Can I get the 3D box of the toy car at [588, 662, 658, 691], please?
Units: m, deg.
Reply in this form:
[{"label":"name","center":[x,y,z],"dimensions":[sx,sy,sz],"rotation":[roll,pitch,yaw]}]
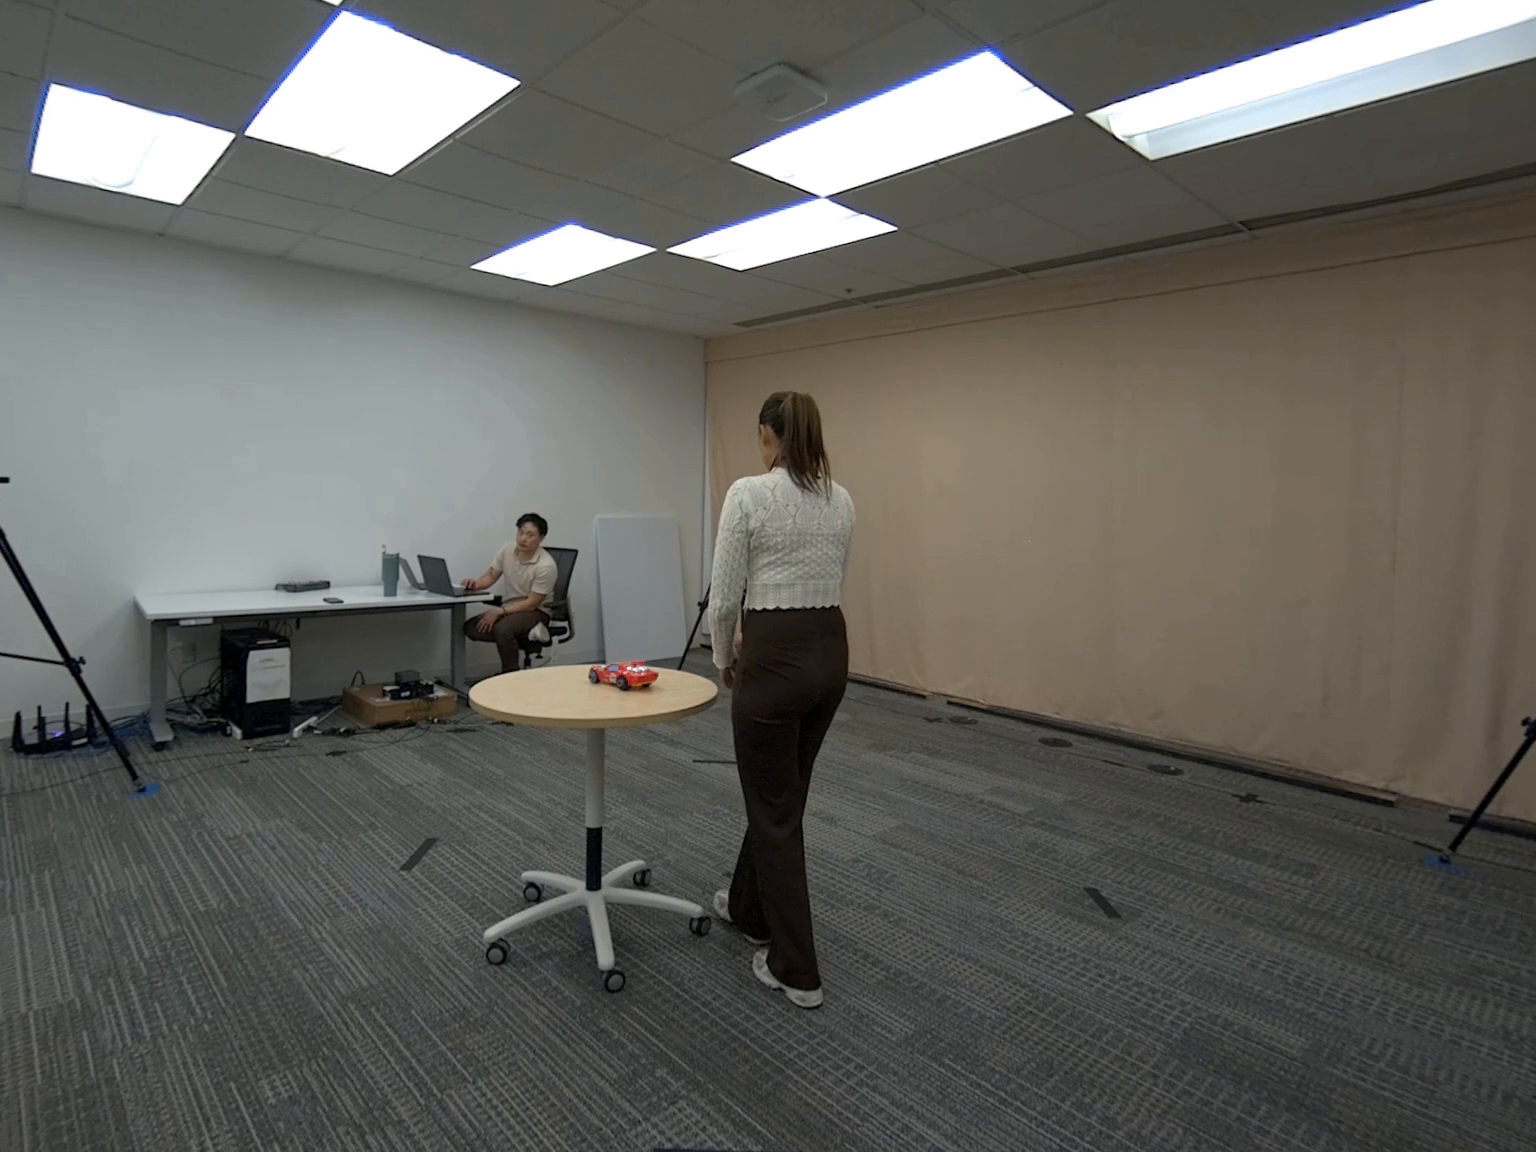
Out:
[{"label":"toy car","center":[-0.463,0.322,2.676],"dimensions":[0.259,0.083,0.127],"rotation":[-9,-2,42]}]
